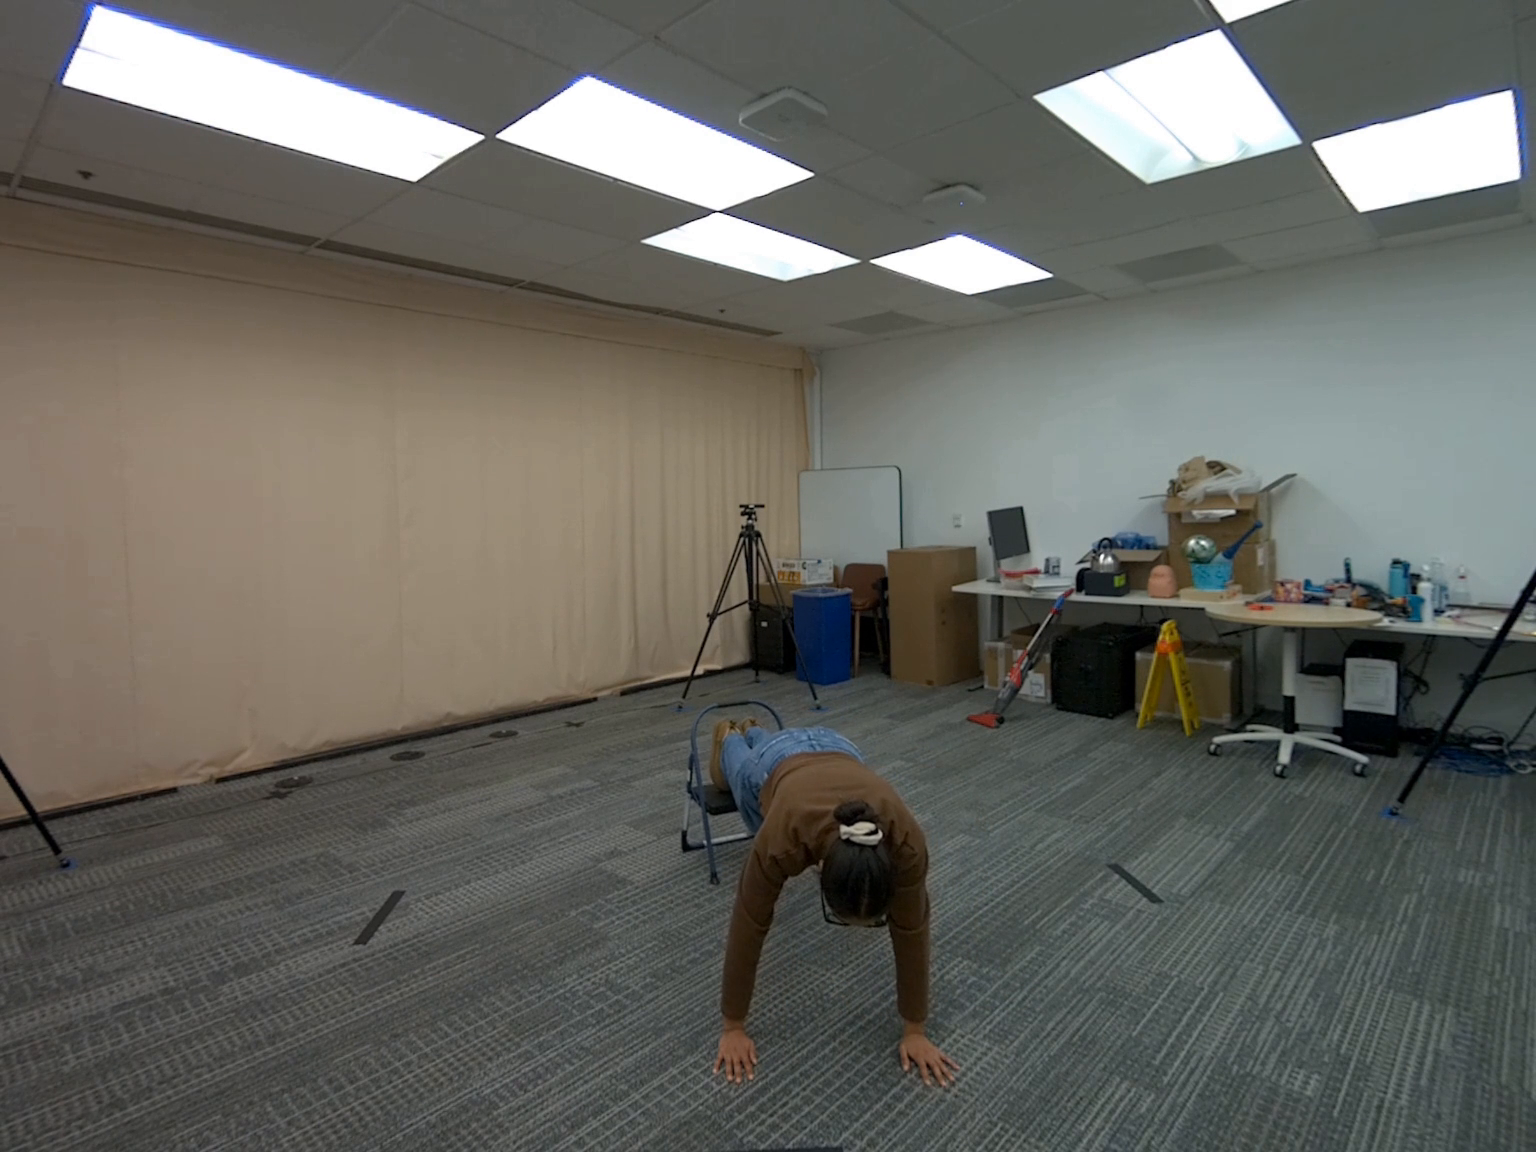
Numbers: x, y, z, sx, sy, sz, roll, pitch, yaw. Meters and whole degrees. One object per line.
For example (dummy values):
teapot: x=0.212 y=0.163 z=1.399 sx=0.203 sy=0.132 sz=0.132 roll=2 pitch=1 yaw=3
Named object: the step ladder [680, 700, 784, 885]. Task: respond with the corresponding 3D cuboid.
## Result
step ladder: x=-0.095 y=0.812 z=3.318 sx=0.420 sy=0.605 sz=0.358 roll=-3 pitch=4 yaw=-26
